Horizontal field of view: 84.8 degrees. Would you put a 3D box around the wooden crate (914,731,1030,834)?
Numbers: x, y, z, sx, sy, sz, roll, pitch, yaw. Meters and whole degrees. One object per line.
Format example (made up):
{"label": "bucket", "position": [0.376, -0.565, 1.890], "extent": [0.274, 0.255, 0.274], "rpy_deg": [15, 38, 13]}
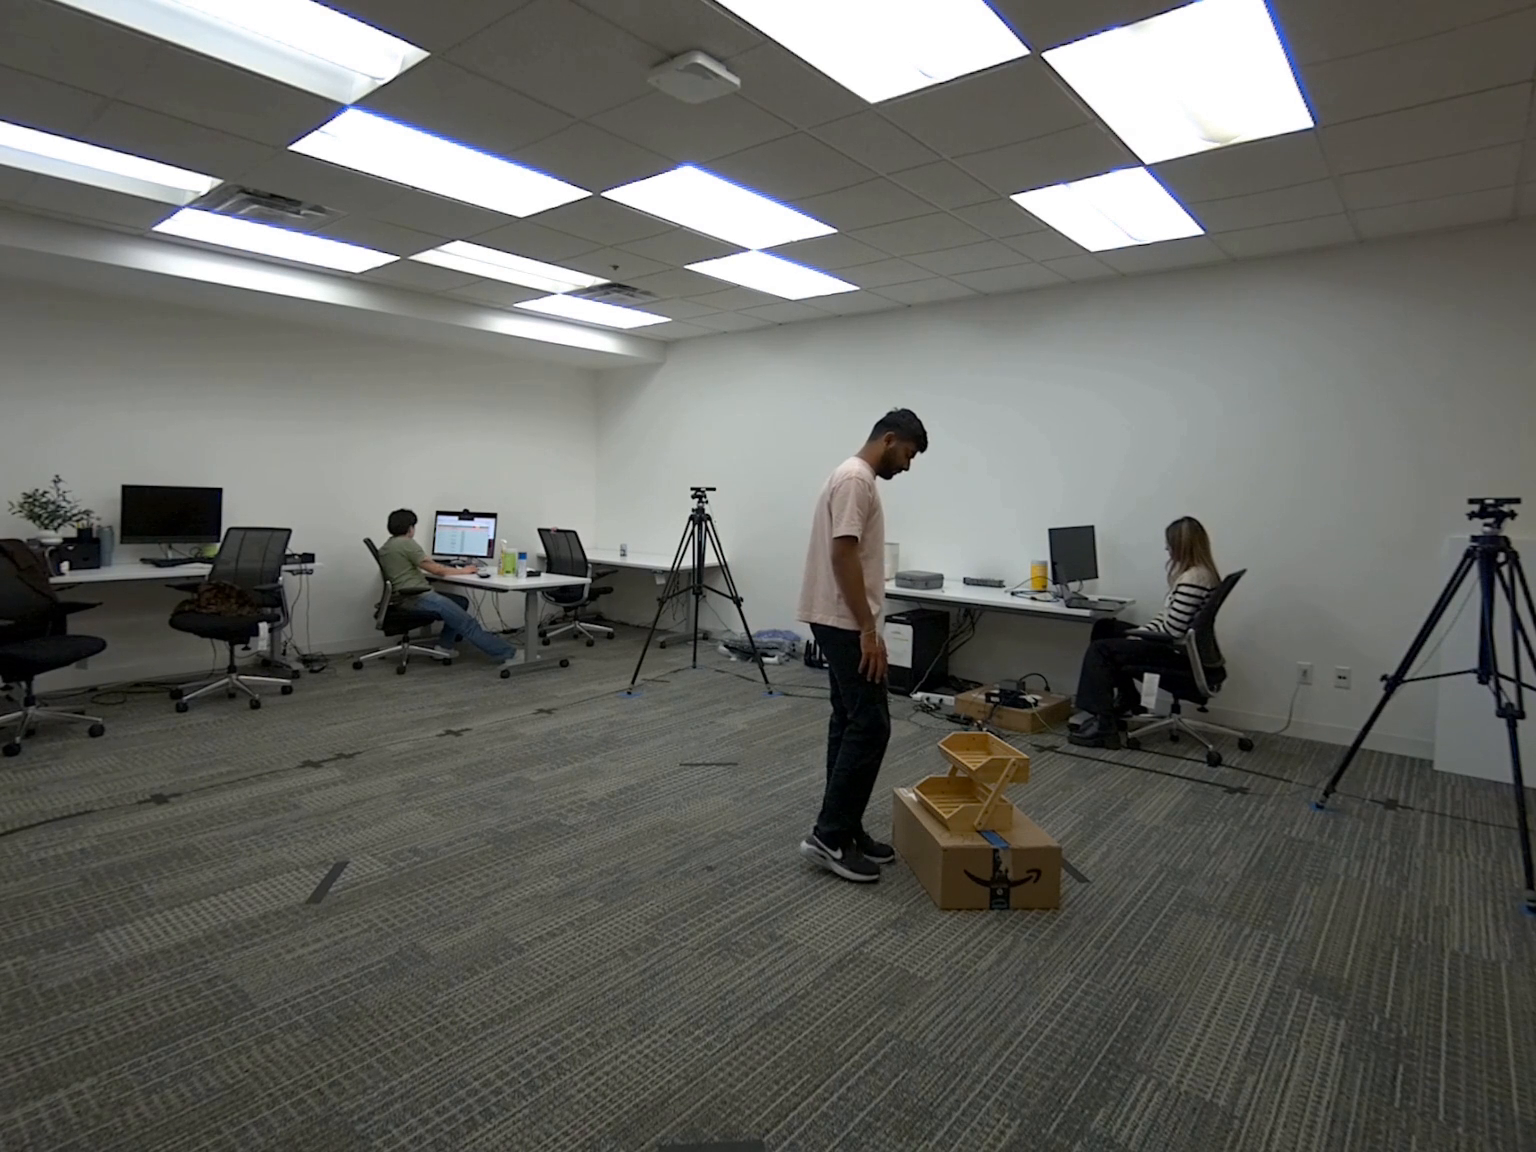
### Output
{"label": "wooden crate", "position": [0.723, 0.740, 3.130], "extent": [0.298, 0.272, 0.330], "rpy_deg": [2, 5, -13]}
